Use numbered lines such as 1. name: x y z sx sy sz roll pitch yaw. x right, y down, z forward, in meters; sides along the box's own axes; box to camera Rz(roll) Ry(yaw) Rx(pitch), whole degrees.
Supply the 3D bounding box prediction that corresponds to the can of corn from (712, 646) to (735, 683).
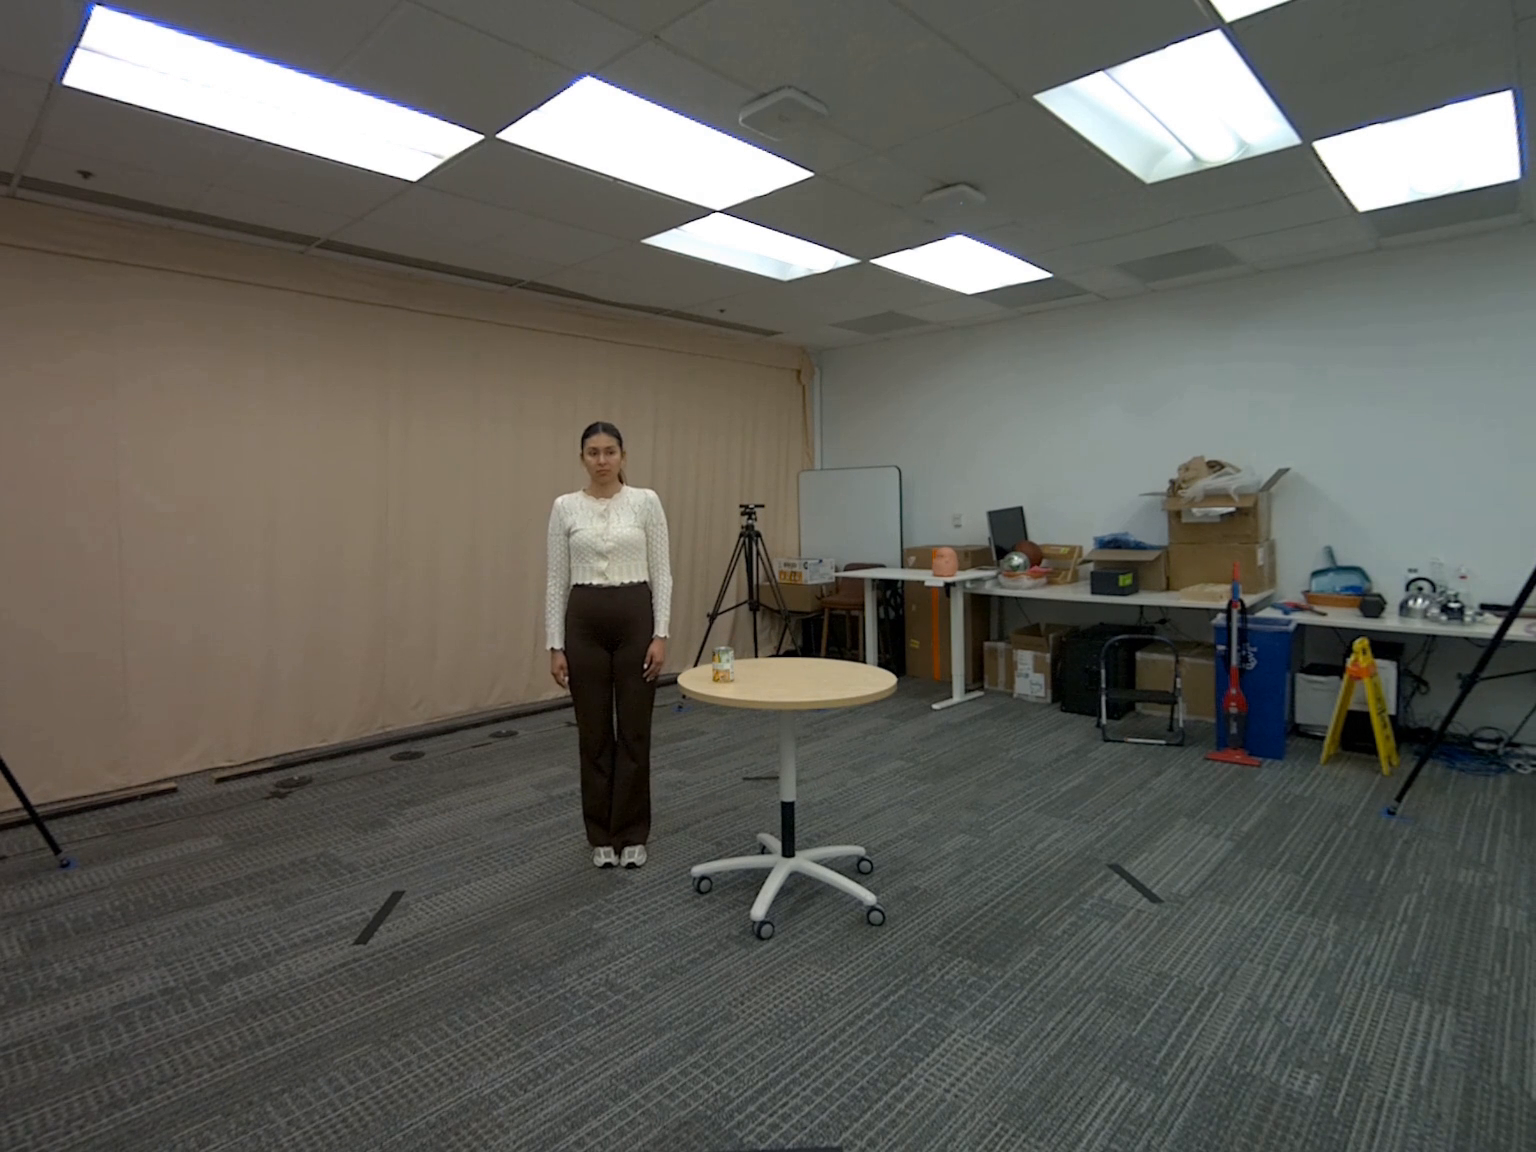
1. can of corn: -0.152 0.306 2.908 0.074 0.110 0.074 -2 6 -2
